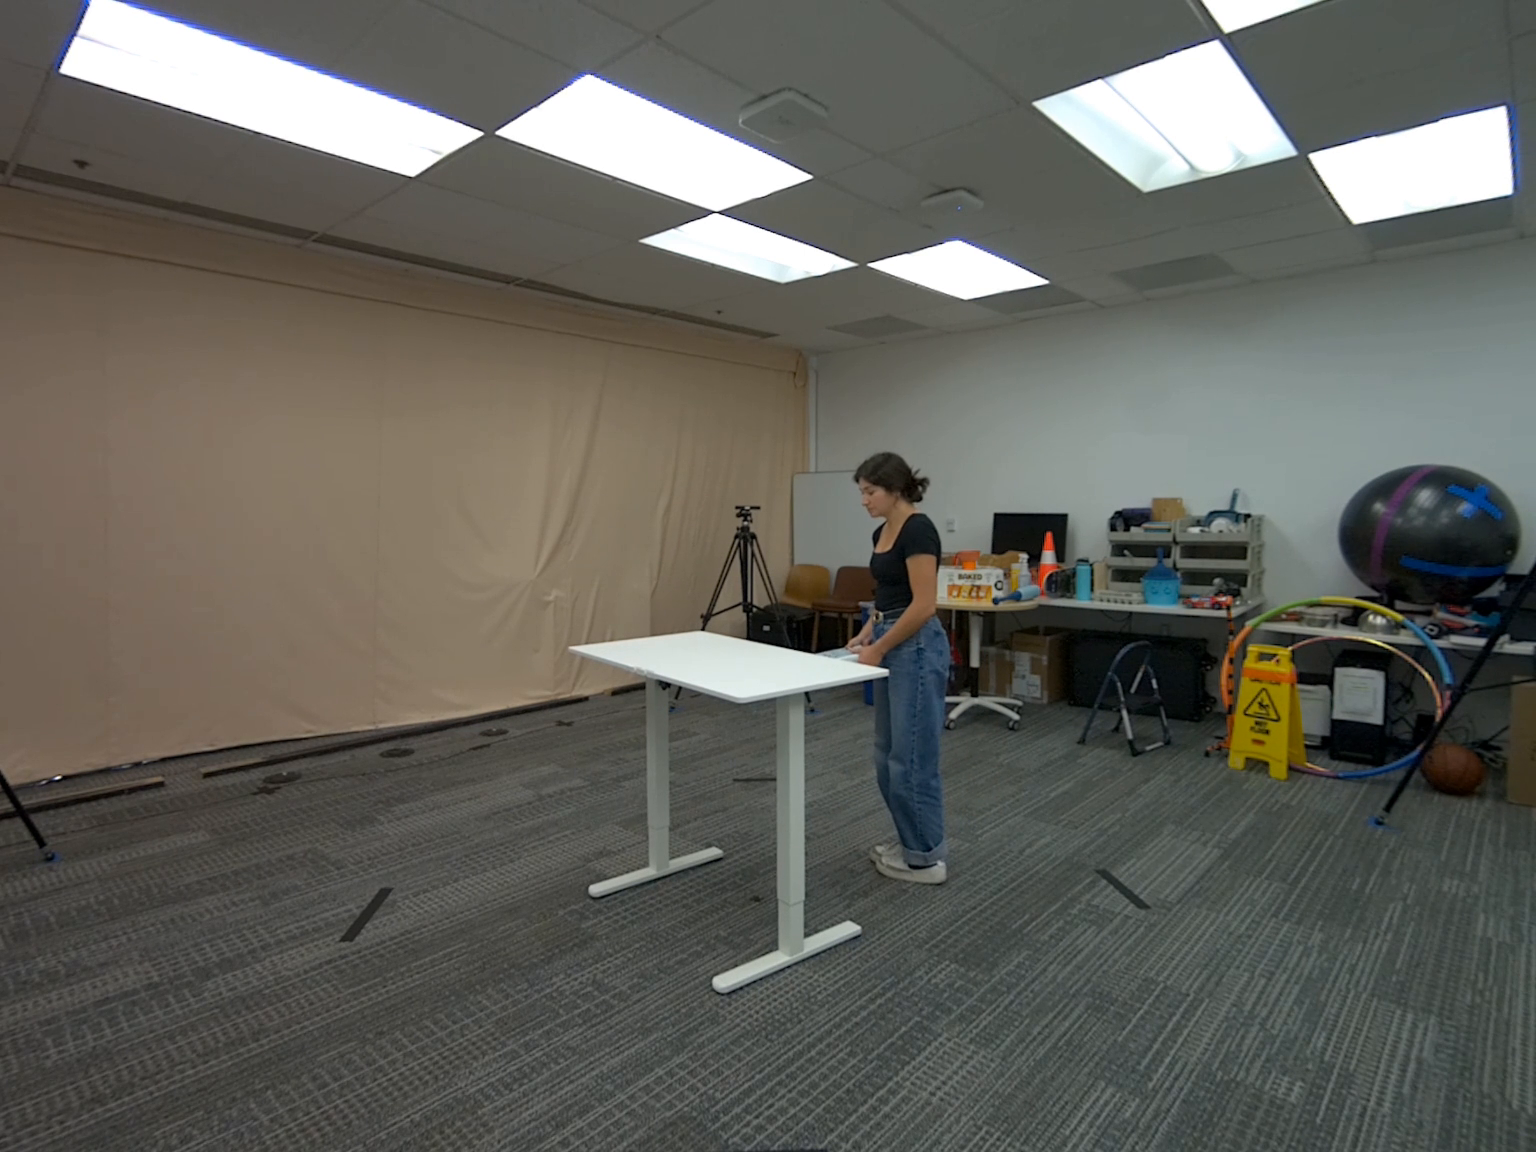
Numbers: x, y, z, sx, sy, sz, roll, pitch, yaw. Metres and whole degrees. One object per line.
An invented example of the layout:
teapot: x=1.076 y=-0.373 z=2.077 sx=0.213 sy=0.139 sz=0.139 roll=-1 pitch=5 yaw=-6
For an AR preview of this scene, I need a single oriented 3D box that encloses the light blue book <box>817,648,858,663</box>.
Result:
light blue book: x=0.255 y=0.343 z=3.158 sx=0.260 sy=0.059 sz=0.192 roll=-13 pitch=3 yaw=-4
